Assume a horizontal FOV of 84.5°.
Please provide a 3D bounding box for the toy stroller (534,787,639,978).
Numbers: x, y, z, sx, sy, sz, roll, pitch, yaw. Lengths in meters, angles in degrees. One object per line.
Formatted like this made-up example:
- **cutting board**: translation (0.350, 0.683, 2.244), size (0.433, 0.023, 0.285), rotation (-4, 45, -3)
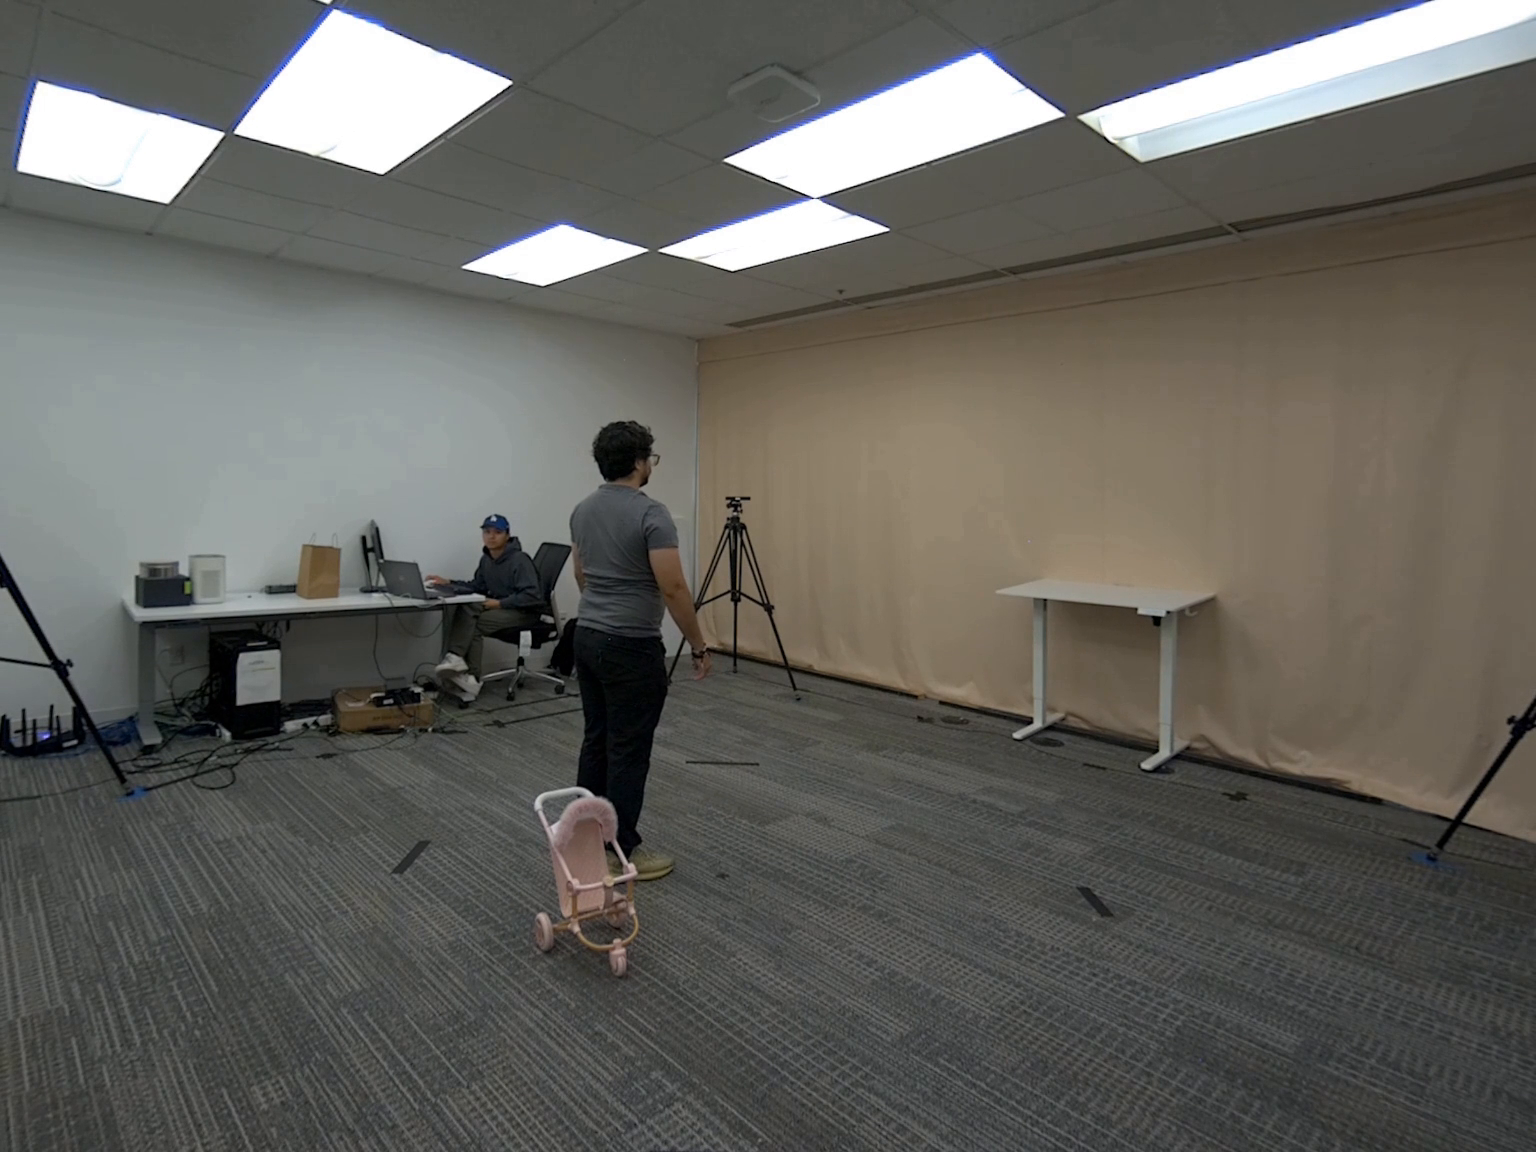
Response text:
- **toy stroller**: translation (-0.561, 0.925, 2.586), size (0.275, 0.540, 0.345), rotation (-1, -13, -33)
